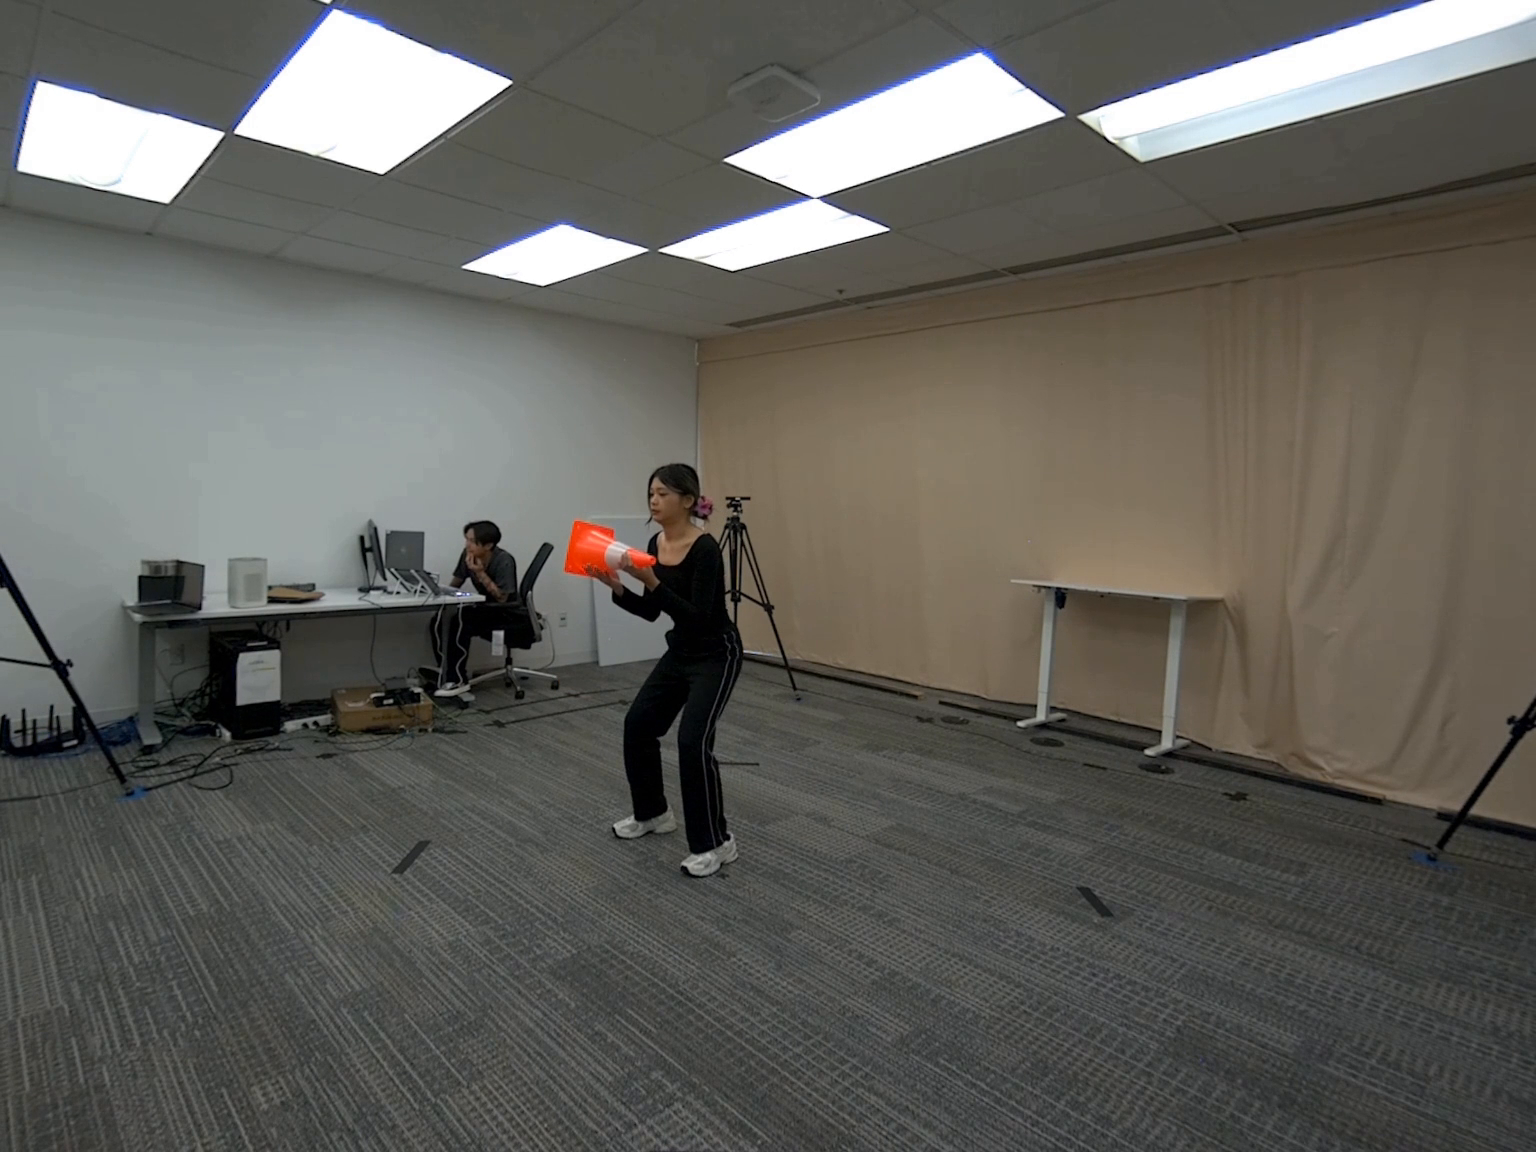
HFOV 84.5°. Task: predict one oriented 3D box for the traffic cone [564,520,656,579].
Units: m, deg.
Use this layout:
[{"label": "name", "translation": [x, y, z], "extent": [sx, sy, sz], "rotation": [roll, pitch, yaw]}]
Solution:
[{"label": "traffic cone", "translation": [-0.542, -0.072, 3.044], "extent": [0.394, 0.205, 0.197], "rotation": [8, -3, 44]}]
